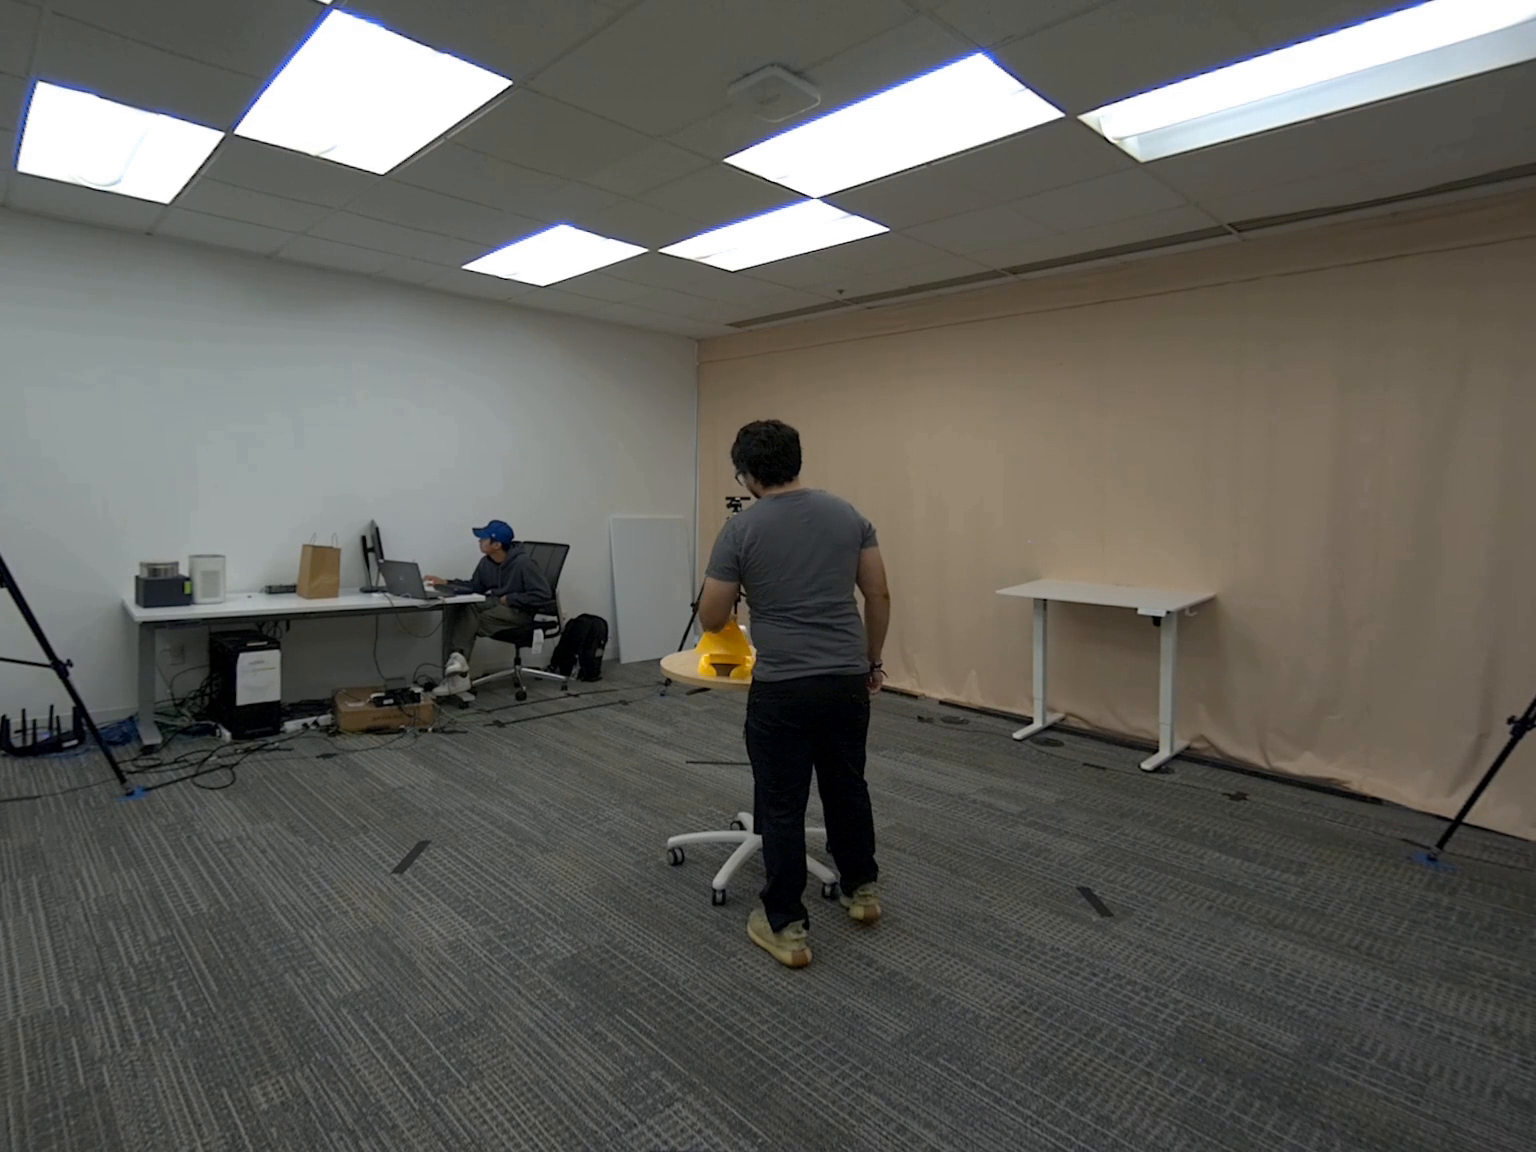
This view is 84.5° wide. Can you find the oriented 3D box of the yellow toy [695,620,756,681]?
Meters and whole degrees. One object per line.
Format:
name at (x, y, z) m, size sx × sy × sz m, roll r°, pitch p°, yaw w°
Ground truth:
yellow toy at (-0.142, 0.222, 2.933) m, size 0.206 × 0.230 × 0.192 m, roll 2°, pitch 6°, yaw 8°
